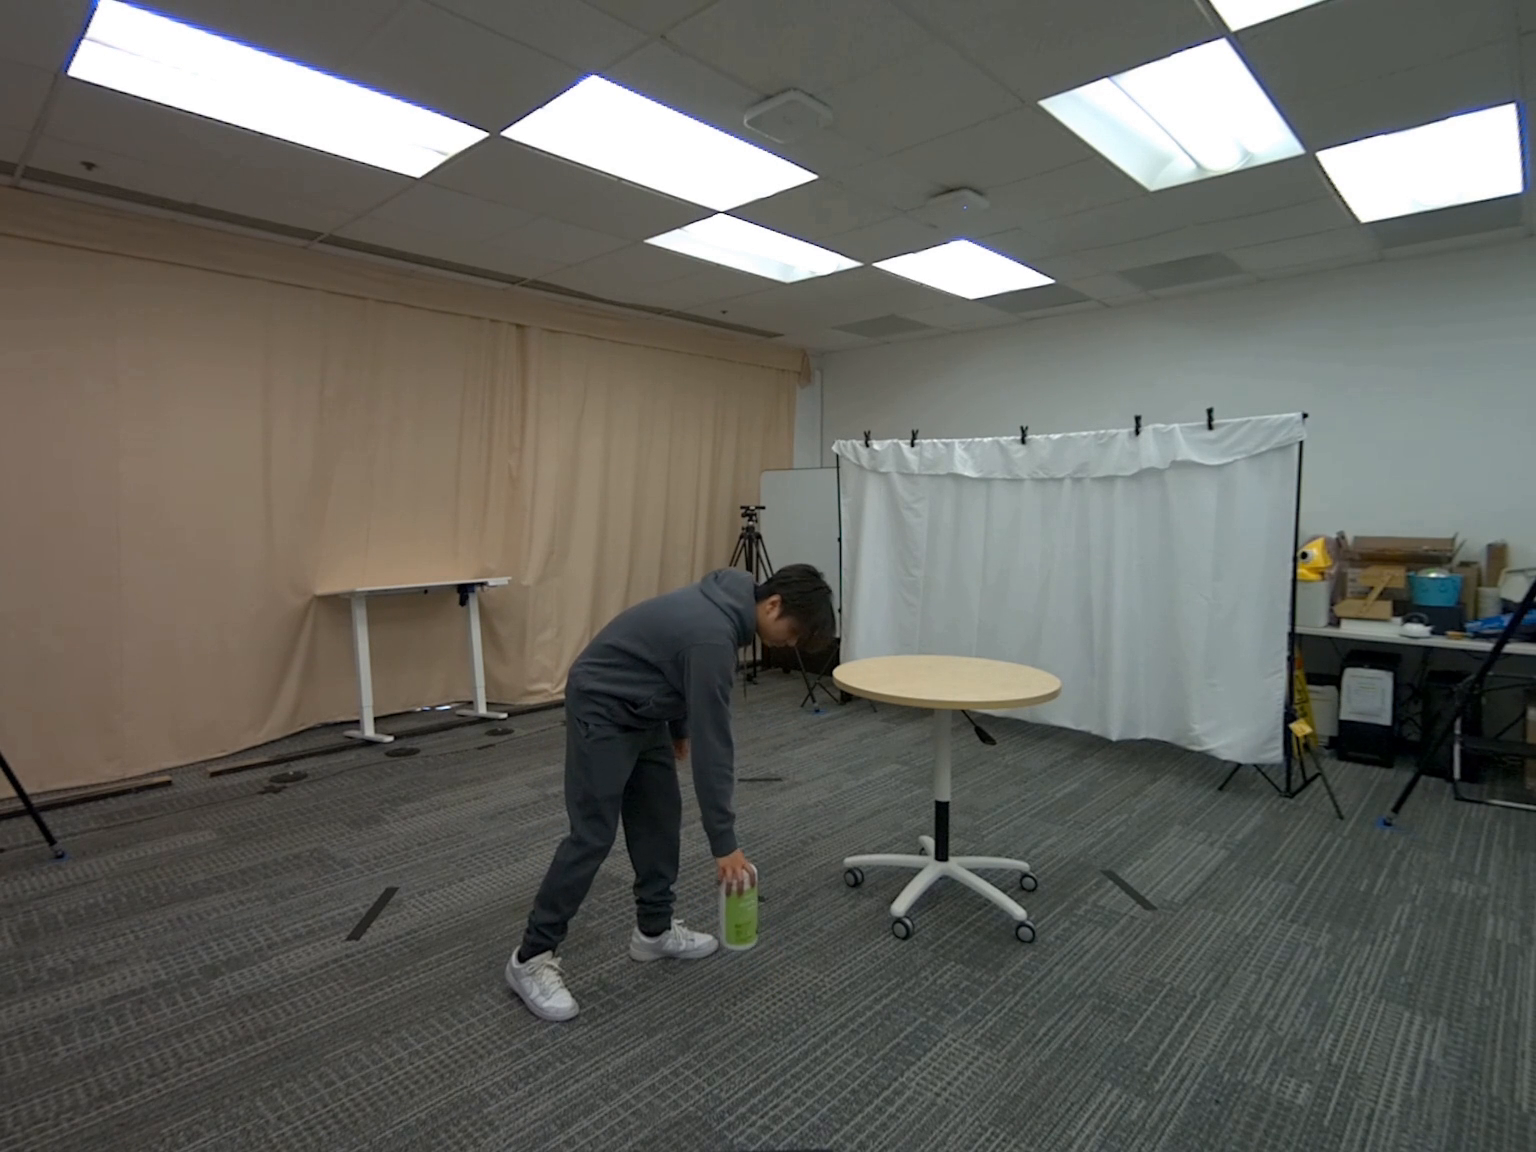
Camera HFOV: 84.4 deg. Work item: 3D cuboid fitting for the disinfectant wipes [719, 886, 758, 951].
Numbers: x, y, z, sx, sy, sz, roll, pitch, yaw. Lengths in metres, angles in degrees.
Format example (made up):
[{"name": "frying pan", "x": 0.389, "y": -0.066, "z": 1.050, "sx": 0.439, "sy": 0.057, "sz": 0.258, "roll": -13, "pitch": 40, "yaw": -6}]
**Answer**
[{"name": "disinfectant wipes", "x": -0.080, "y": 0.925, "z": 2.339, "sx": 0.117, "sy": 0.216, "sz": 0.118, "roll": 1, "pitch": 8, "yaw": -2}]
